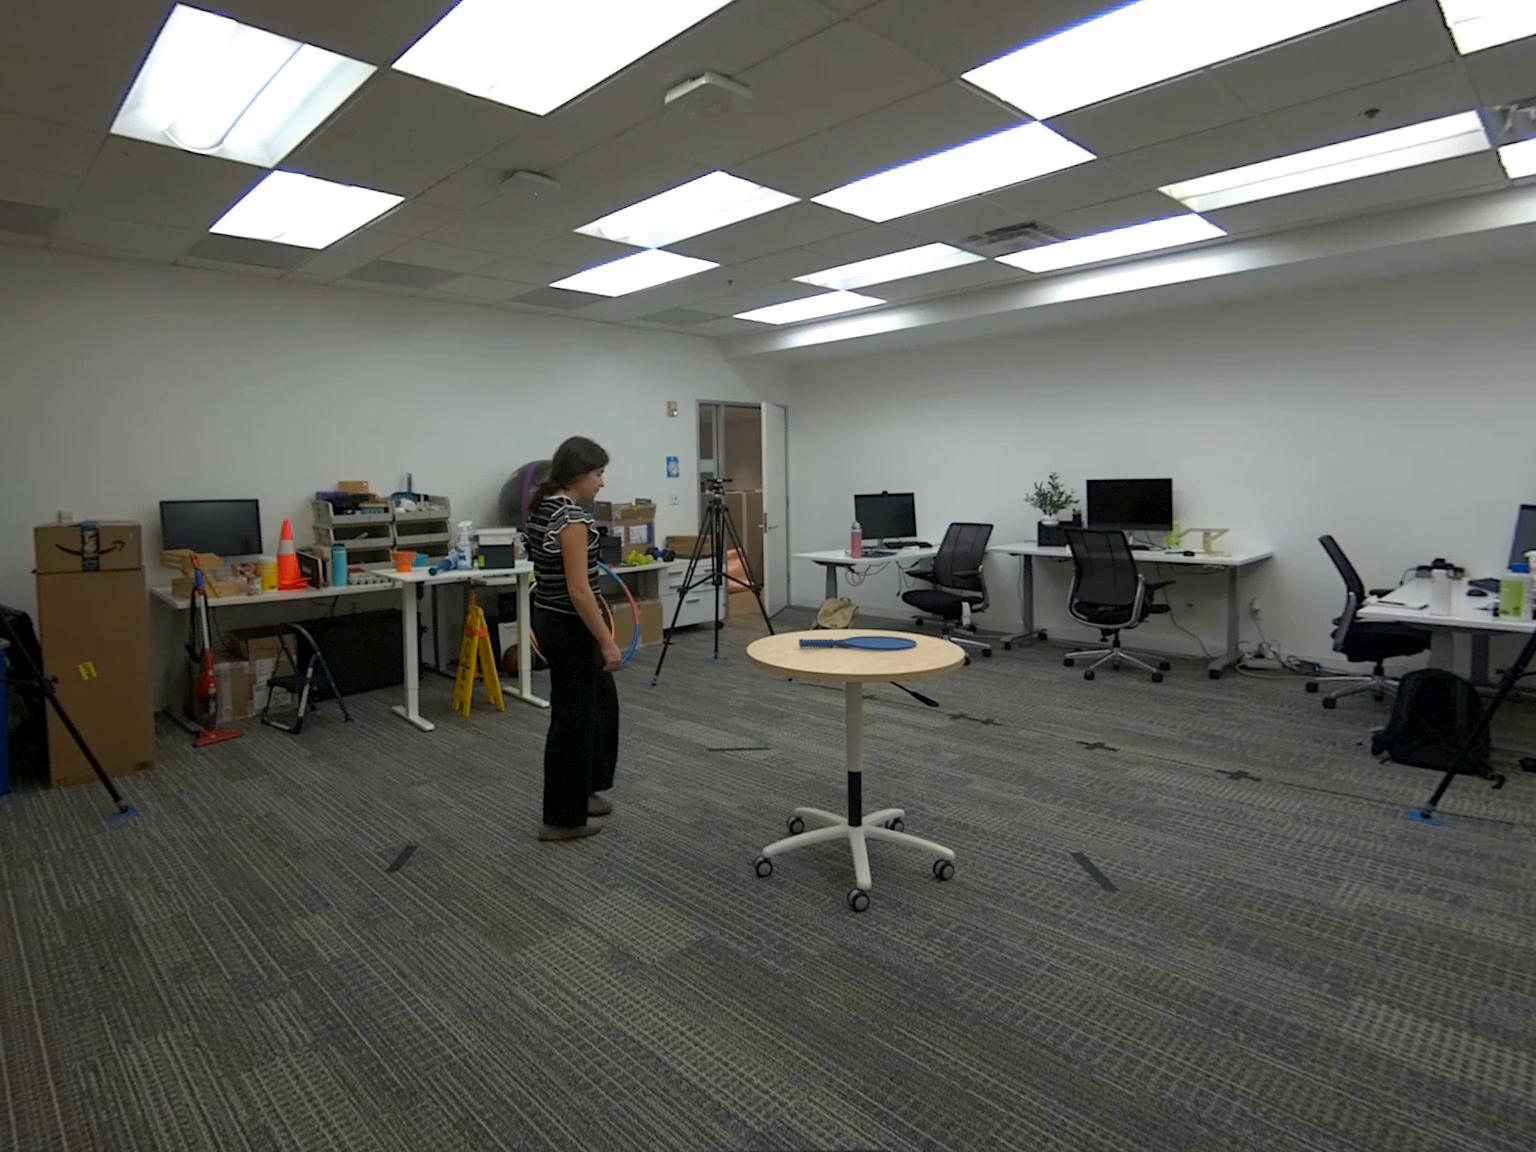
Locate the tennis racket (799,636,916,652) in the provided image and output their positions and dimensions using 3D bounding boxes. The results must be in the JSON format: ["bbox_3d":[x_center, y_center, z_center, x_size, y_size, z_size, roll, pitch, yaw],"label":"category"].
[{"bbox_3d":[0.324,0.244,3.106,0.429,0.031,0.217,-1,7,-10],"label":"tennis racket"}]
